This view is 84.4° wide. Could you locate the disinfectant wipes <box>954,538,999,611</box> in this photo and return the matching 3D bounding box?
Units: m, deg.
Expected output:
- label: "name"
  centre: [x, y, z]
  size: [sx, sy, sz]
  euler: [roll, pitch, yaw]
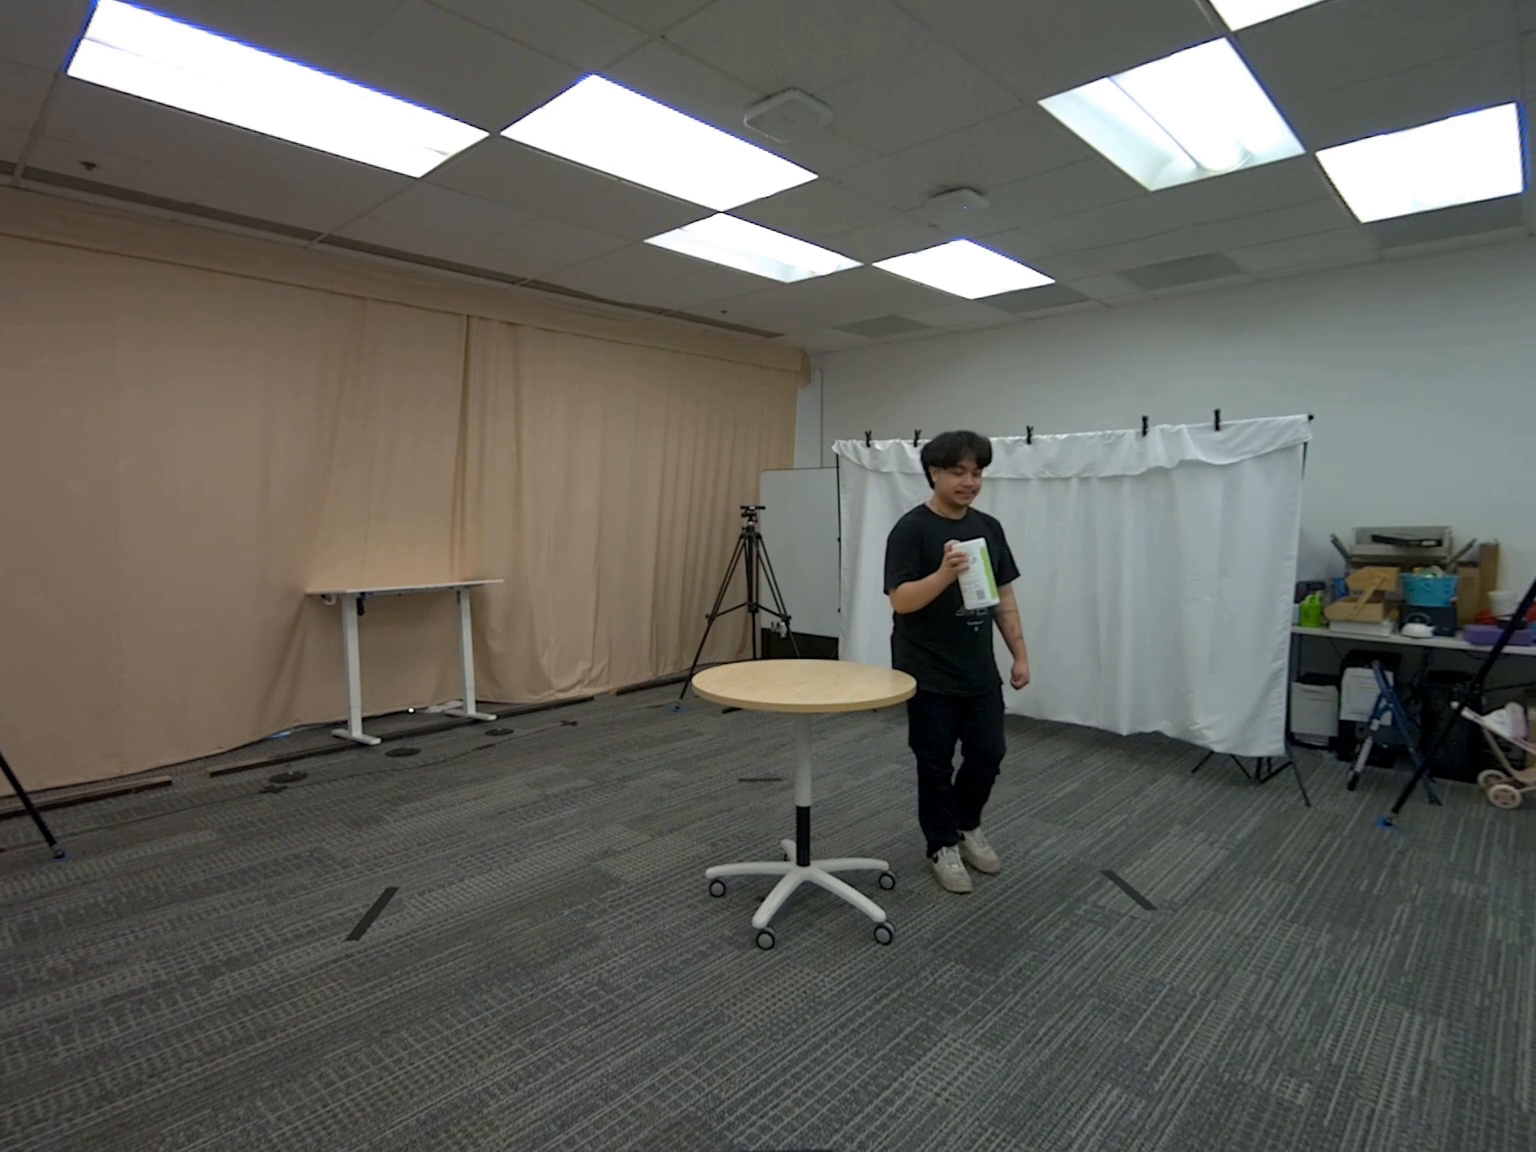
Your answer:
- label: "disinfectant wipes"
  centre: [0.665, -0.002, 2.706]
  size: [0.117, 0.218, 0.118]
  euler: [-9, -2, -2]
